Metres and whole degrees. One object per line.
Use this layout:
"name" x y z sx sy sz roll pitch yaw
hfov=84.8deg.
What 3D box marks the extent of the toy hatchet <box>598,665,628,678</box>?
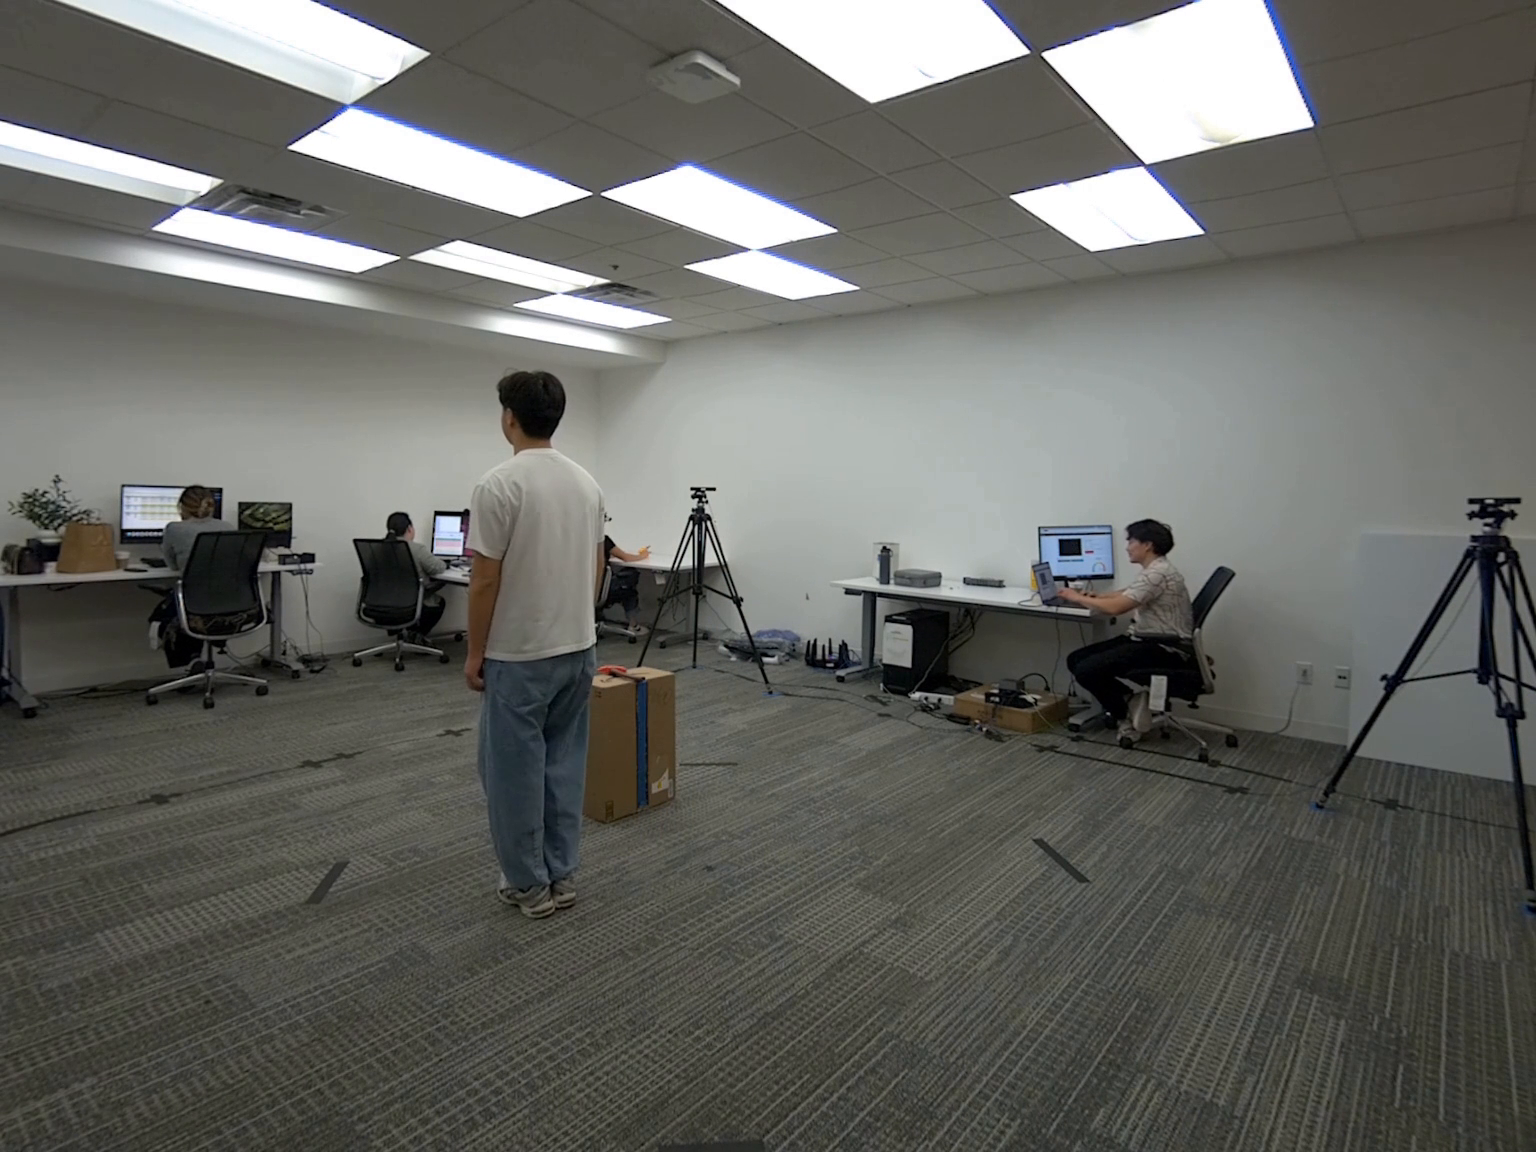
"toy hatchet" -0.624 0.420 3.711 0.279 0.029 0.127 6 3 37
